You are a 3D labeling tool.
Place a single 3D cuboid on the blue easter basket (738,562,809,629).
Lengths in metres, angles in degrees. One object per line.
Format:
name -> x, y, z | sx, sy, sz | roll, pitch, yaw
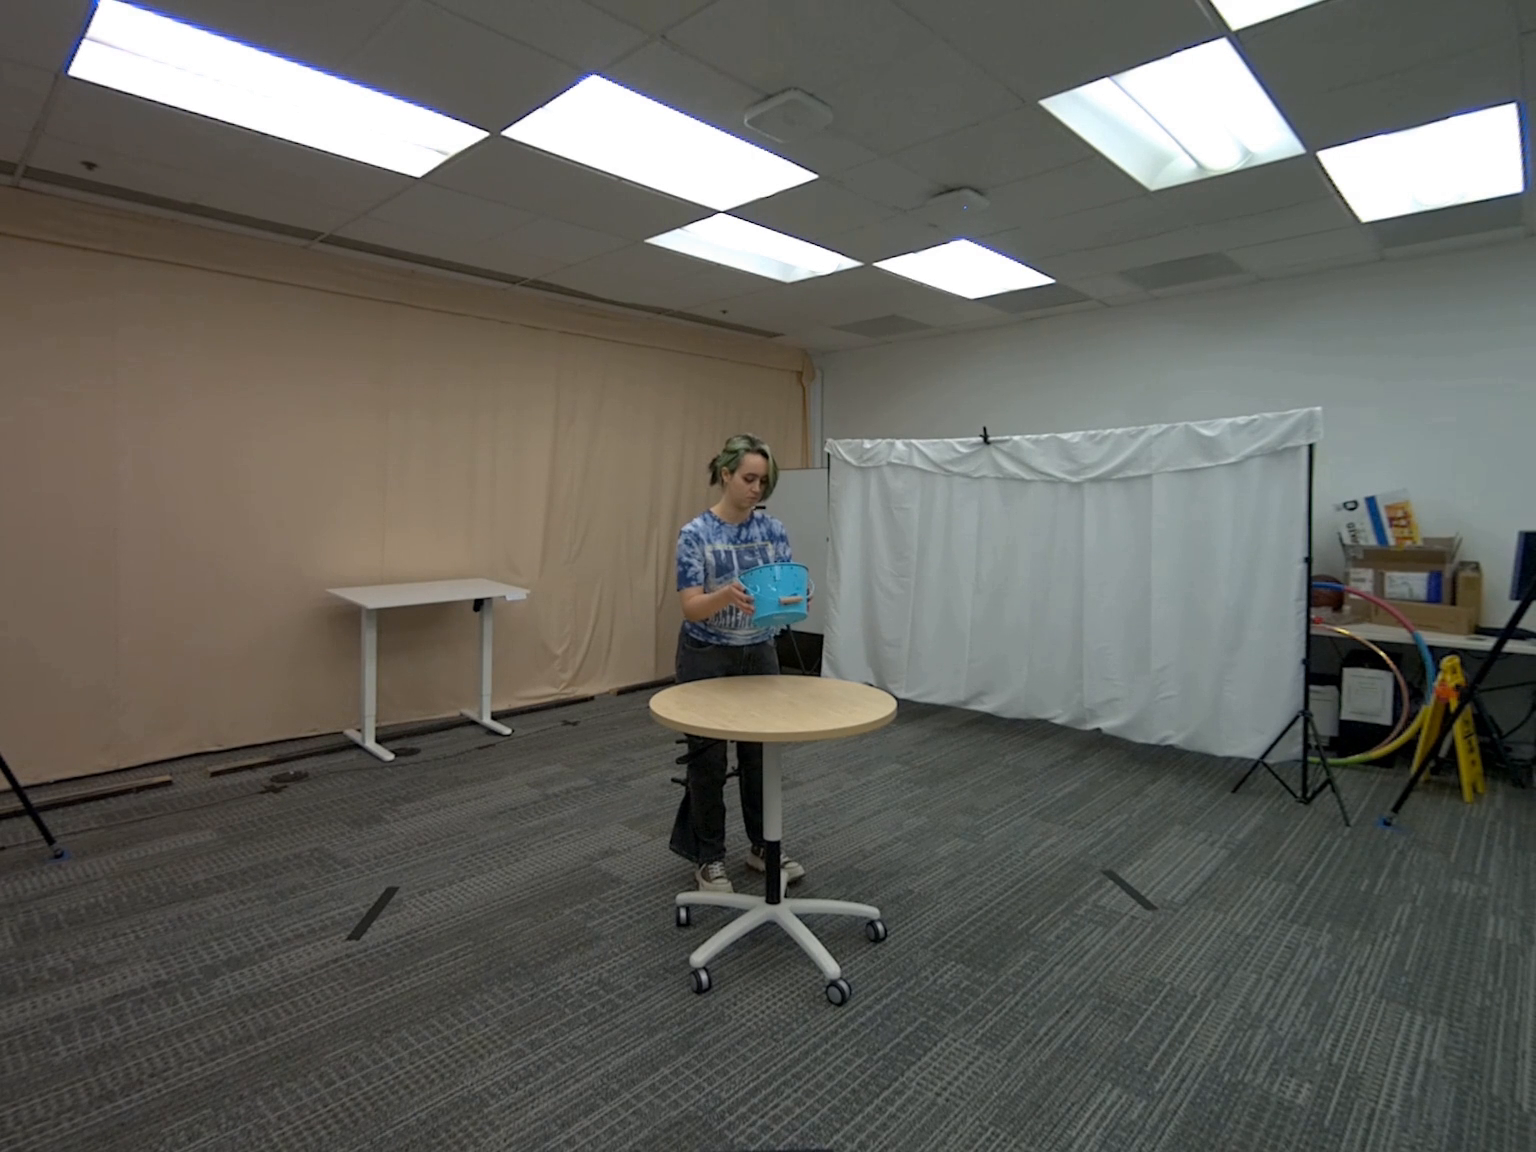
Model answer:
blue easter basket -> 0.042, 0.076, 2.703 | 0.243, 0.158, 0.241 | -4, -21, -3
